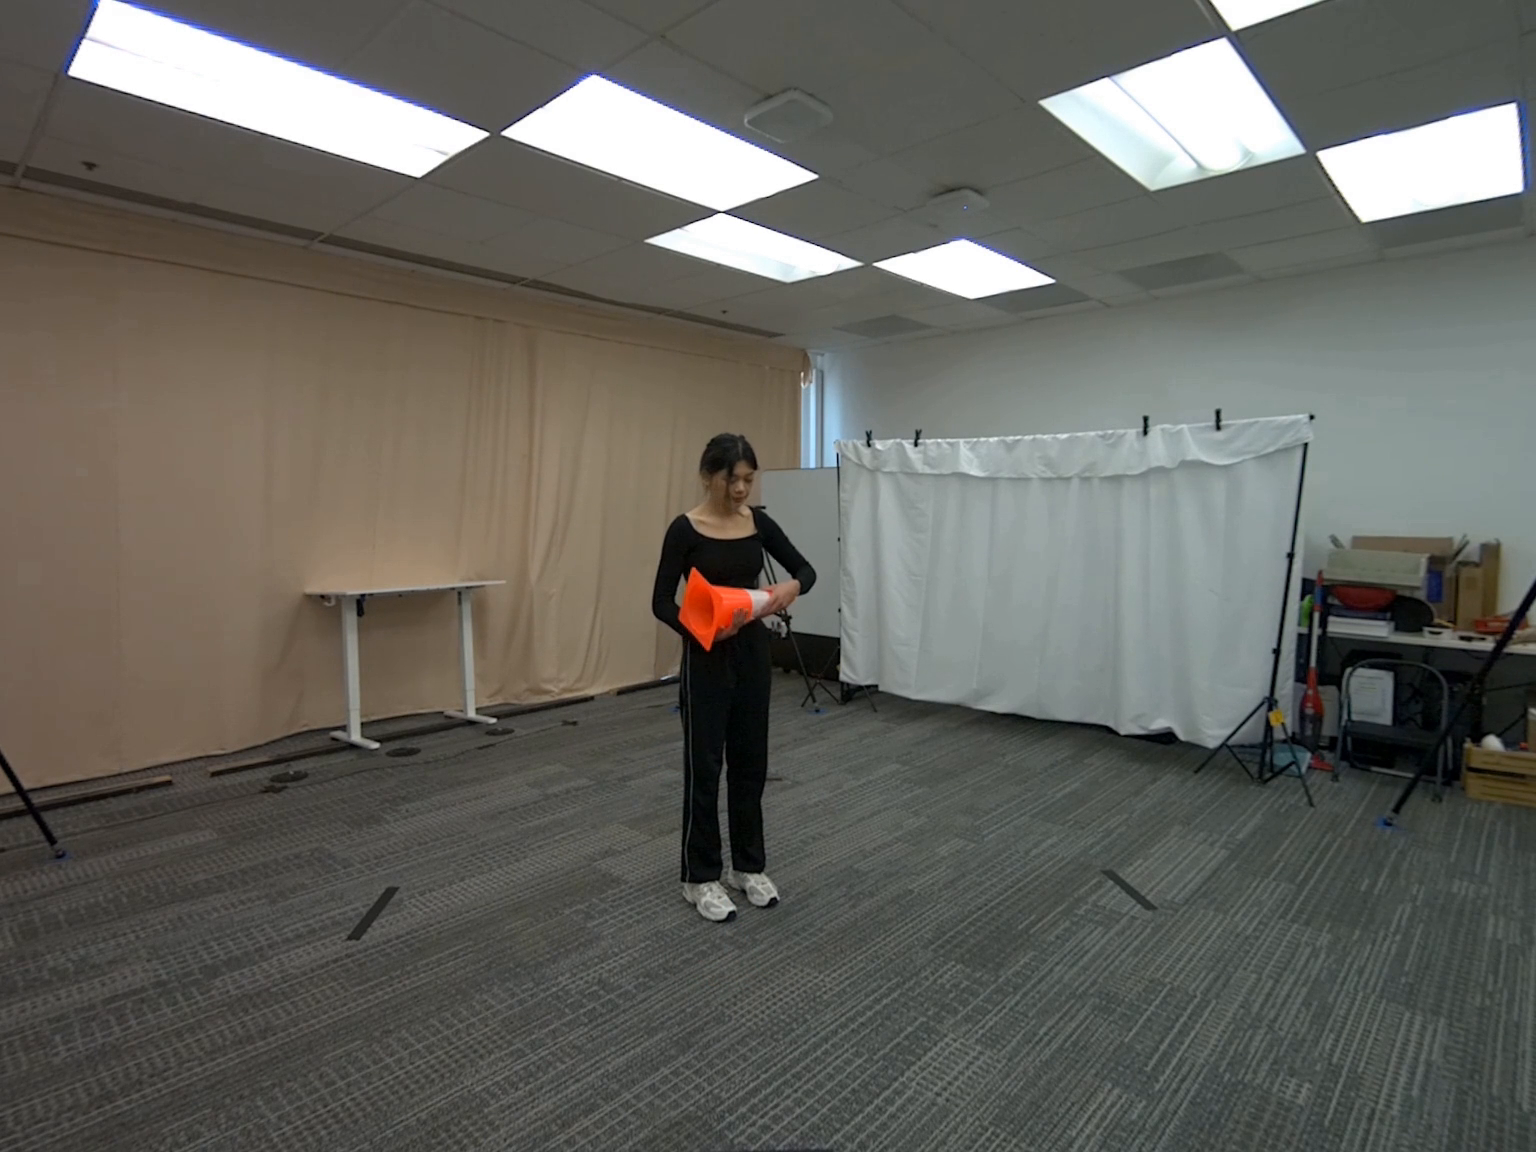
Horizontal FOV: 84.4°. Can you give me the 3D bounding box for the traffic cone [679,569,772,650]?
[{"bbox_3d":[-0.056,0.091,2.773,0.373,0.201,0.212,-6,33,-35],"label":"traffic cone"}]
